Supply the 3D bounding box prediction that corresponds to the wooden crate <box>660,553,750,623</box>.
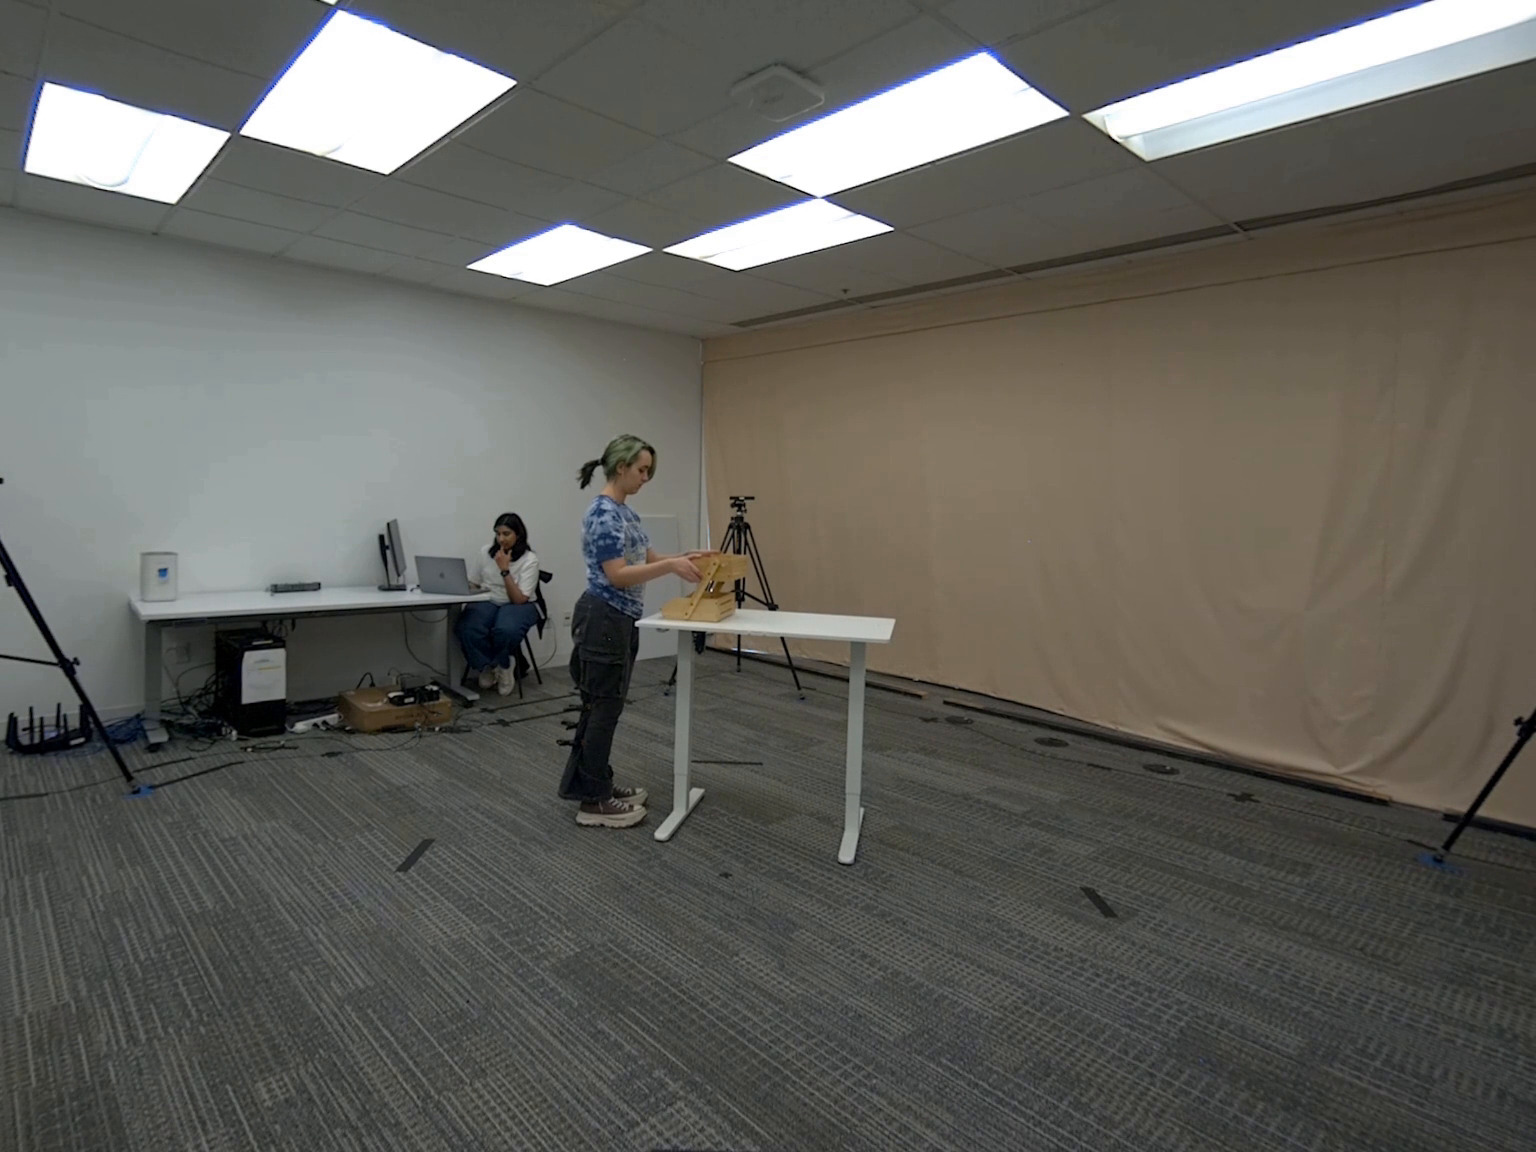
[{"bbox_3d":[-0.284,0.039,3.590,0.305,0.273,0.321,2,4,13],"label":"wooden crate"}]
